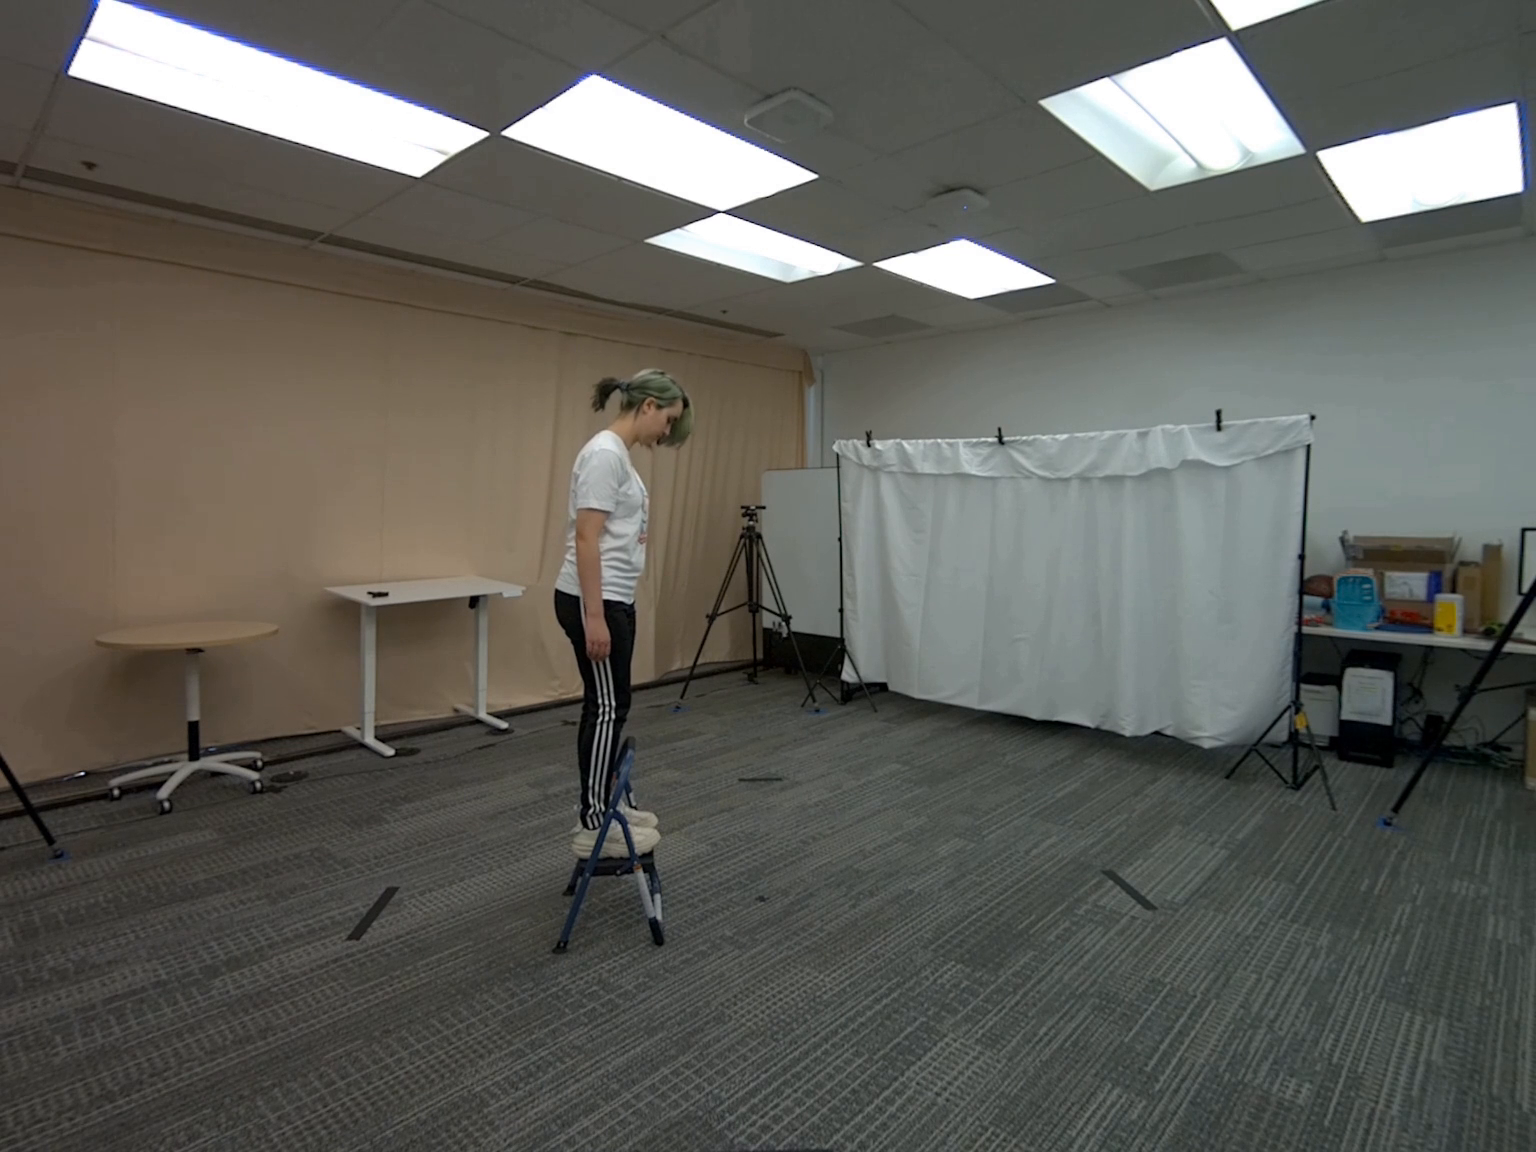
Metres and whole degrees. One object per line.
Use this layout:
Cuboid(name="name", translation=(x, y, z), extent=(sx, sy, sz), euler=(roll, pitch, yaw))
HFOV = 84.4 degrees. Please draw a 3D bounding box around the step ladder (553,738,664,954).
Cuboid(name="step ladder", translation=(-0.532, 0.862, 2.836), extent=(0.347, 0.605, 0.435), euler=(-2, 3, -8))
